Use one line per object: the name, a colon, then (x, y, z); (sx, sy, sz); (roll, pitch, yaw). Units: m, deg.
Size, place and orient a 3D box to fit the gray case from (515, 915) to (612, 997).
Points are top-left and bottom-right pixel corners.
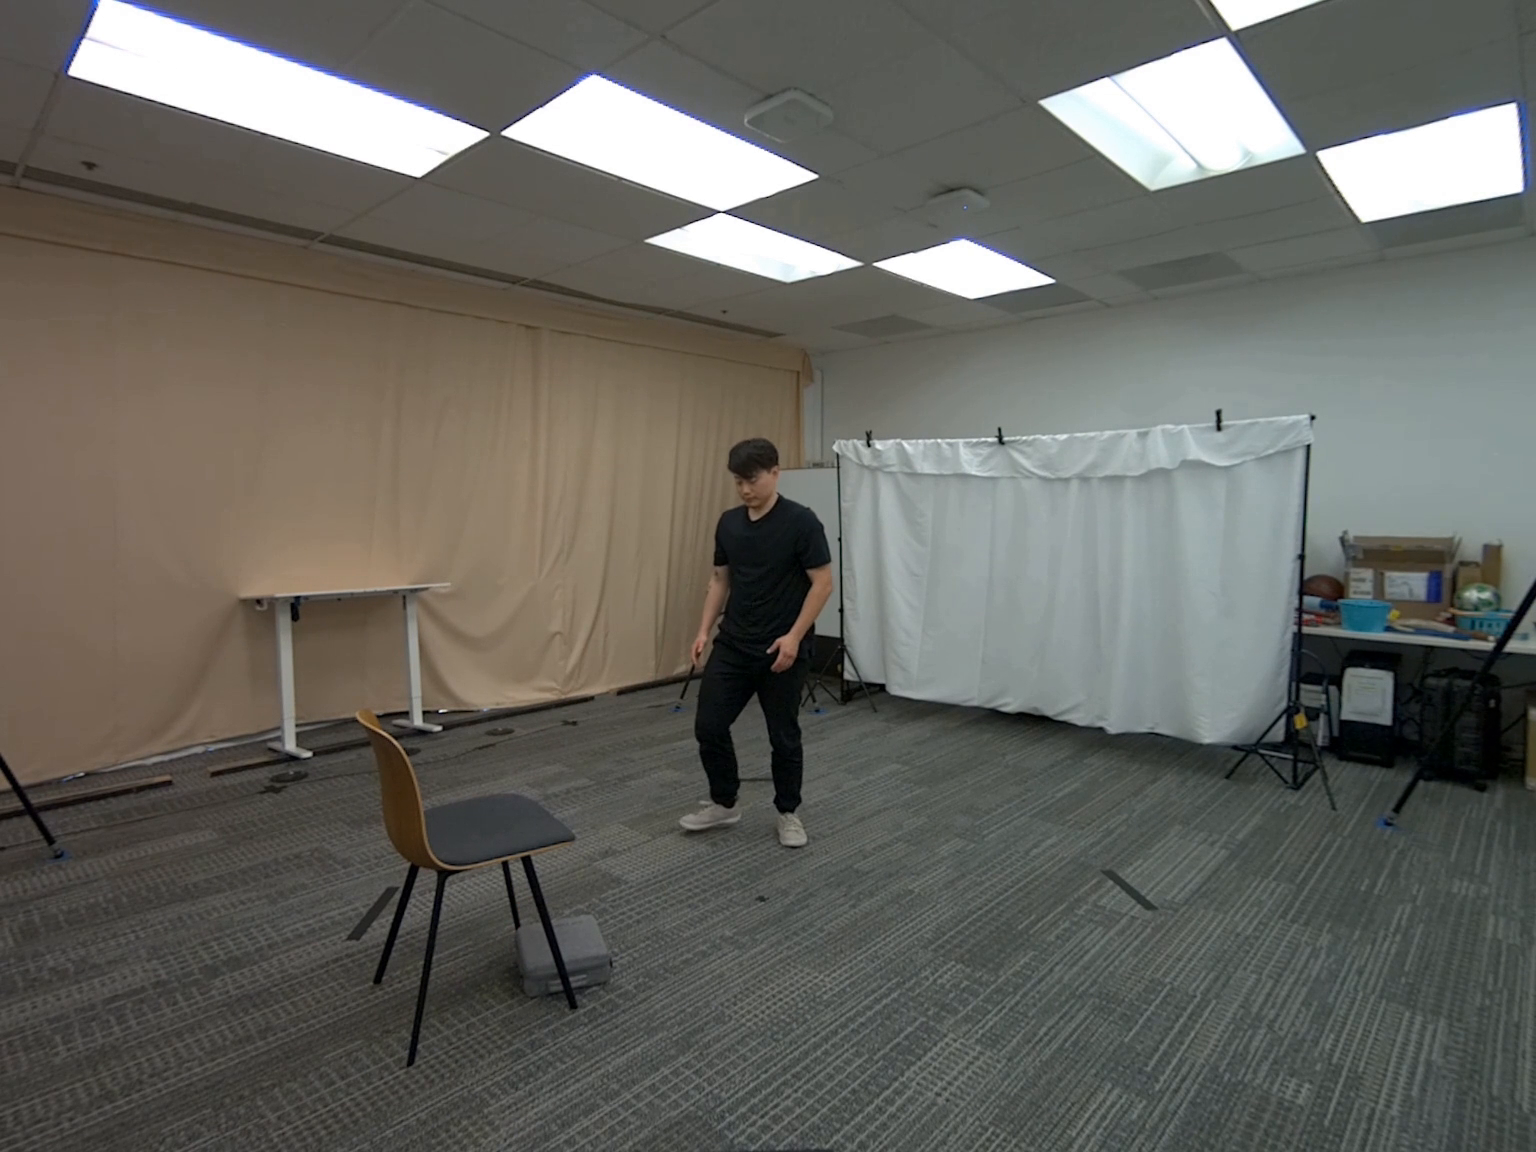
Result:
gray case: (-0.613, 1.133, 2.518); (0.252, 0.104, 0.267); (-1, 6, -21)
